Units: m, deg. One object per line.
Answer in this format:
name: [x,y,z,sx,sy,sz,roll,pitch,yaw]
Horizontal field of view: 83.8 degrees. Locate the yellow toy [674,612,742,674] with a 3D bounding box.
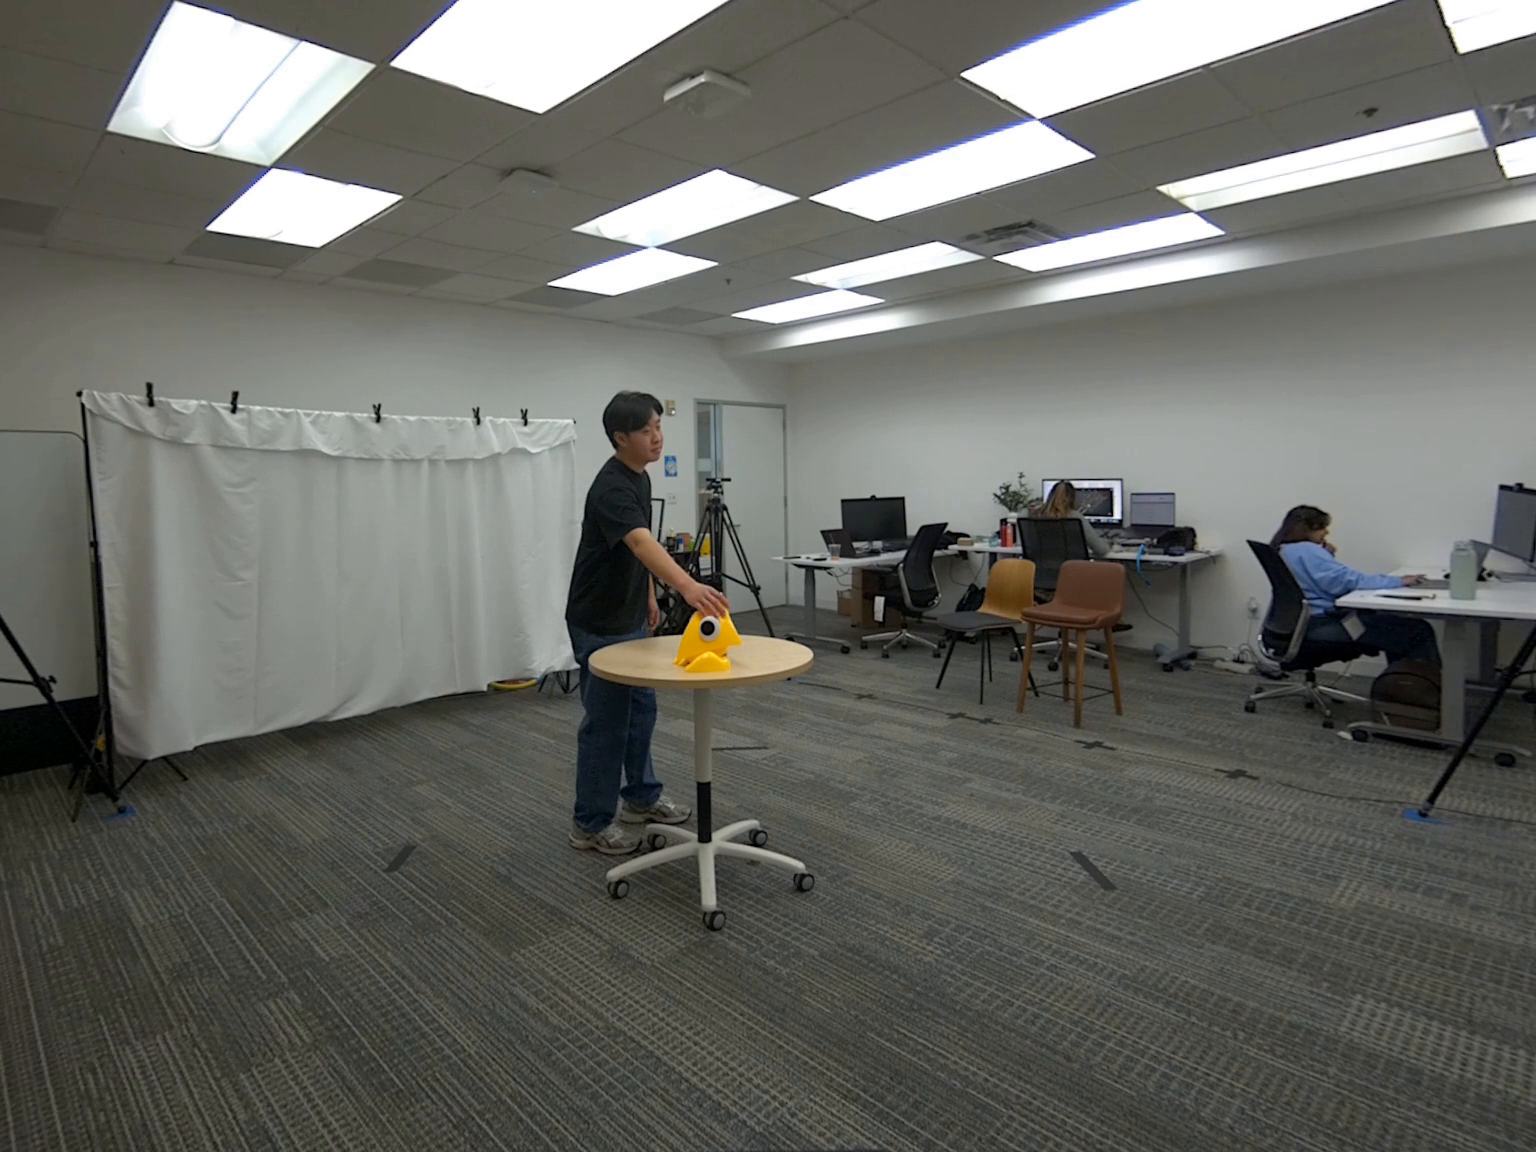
yellow toy: [-0.199,0.174,2.747,0.189,0.230,0.209,-2,5,-23]
